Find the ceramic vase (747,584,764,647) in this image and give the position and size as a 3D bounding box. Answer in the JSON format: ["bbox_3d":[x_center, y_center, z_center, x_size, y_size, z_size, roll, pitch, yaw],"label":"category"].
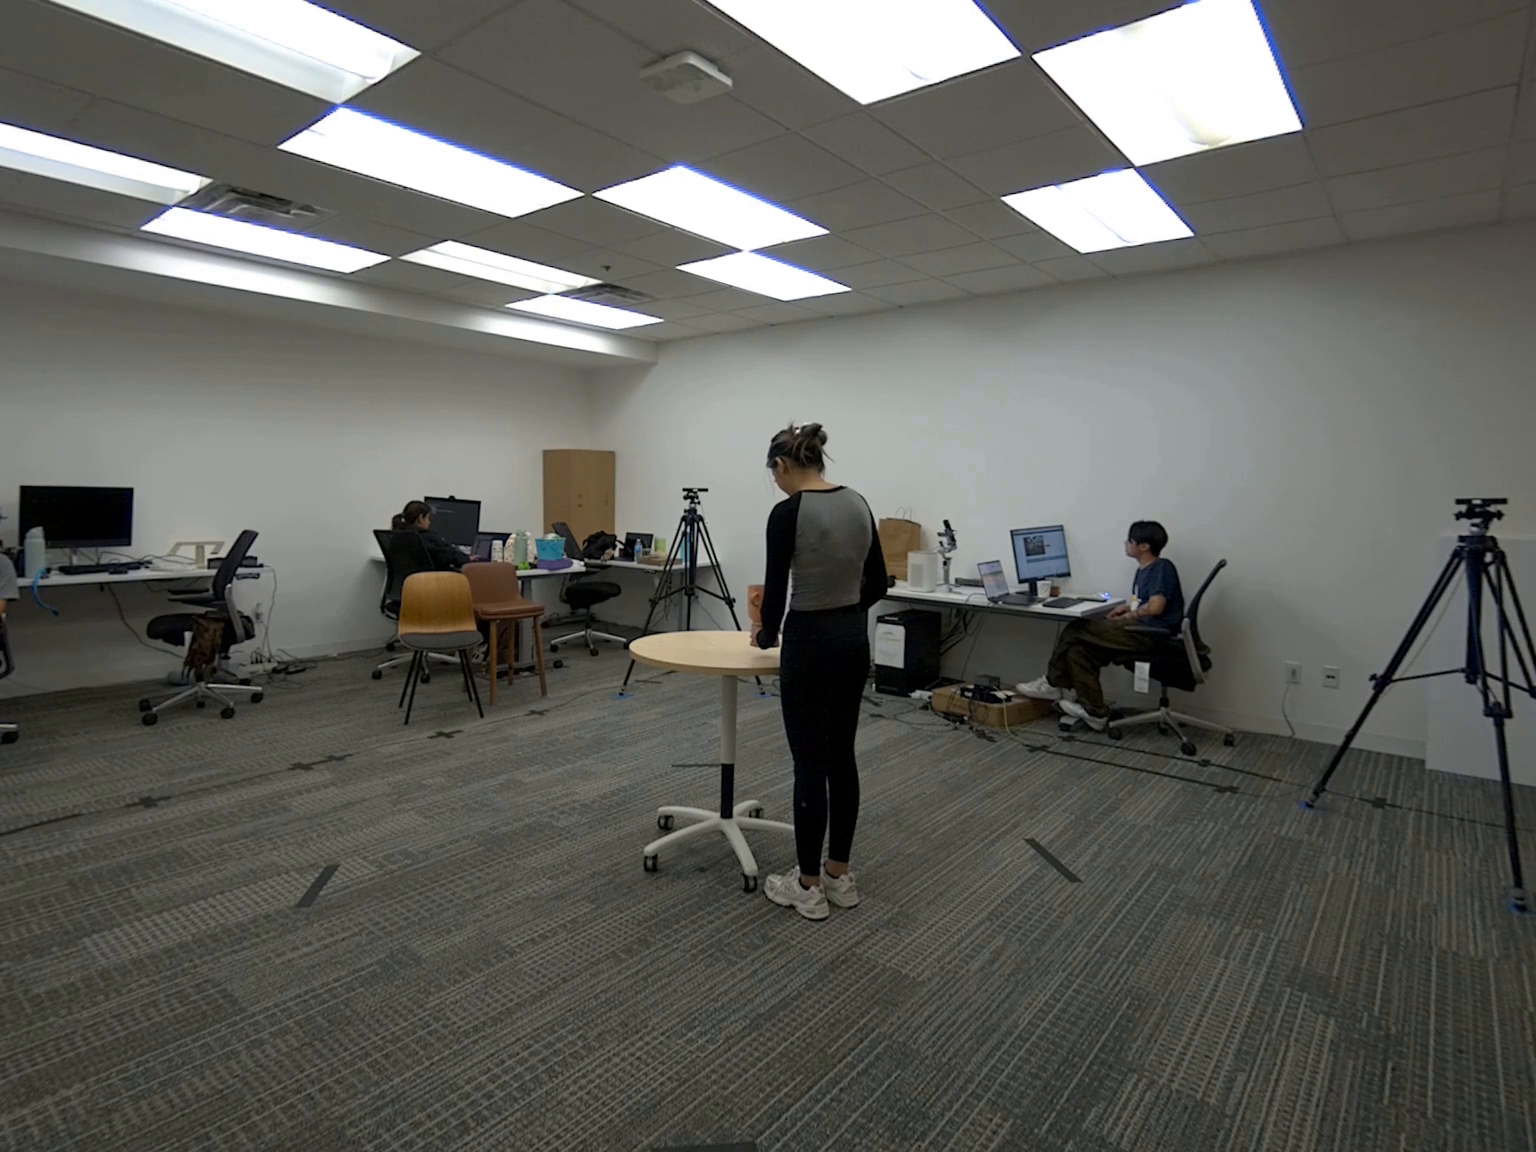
[{"bbox_3d":[-0.010,0.138,3.044,0.156,0.220,0.136,0,-2,-16],"label":"ceramic vase"}]
